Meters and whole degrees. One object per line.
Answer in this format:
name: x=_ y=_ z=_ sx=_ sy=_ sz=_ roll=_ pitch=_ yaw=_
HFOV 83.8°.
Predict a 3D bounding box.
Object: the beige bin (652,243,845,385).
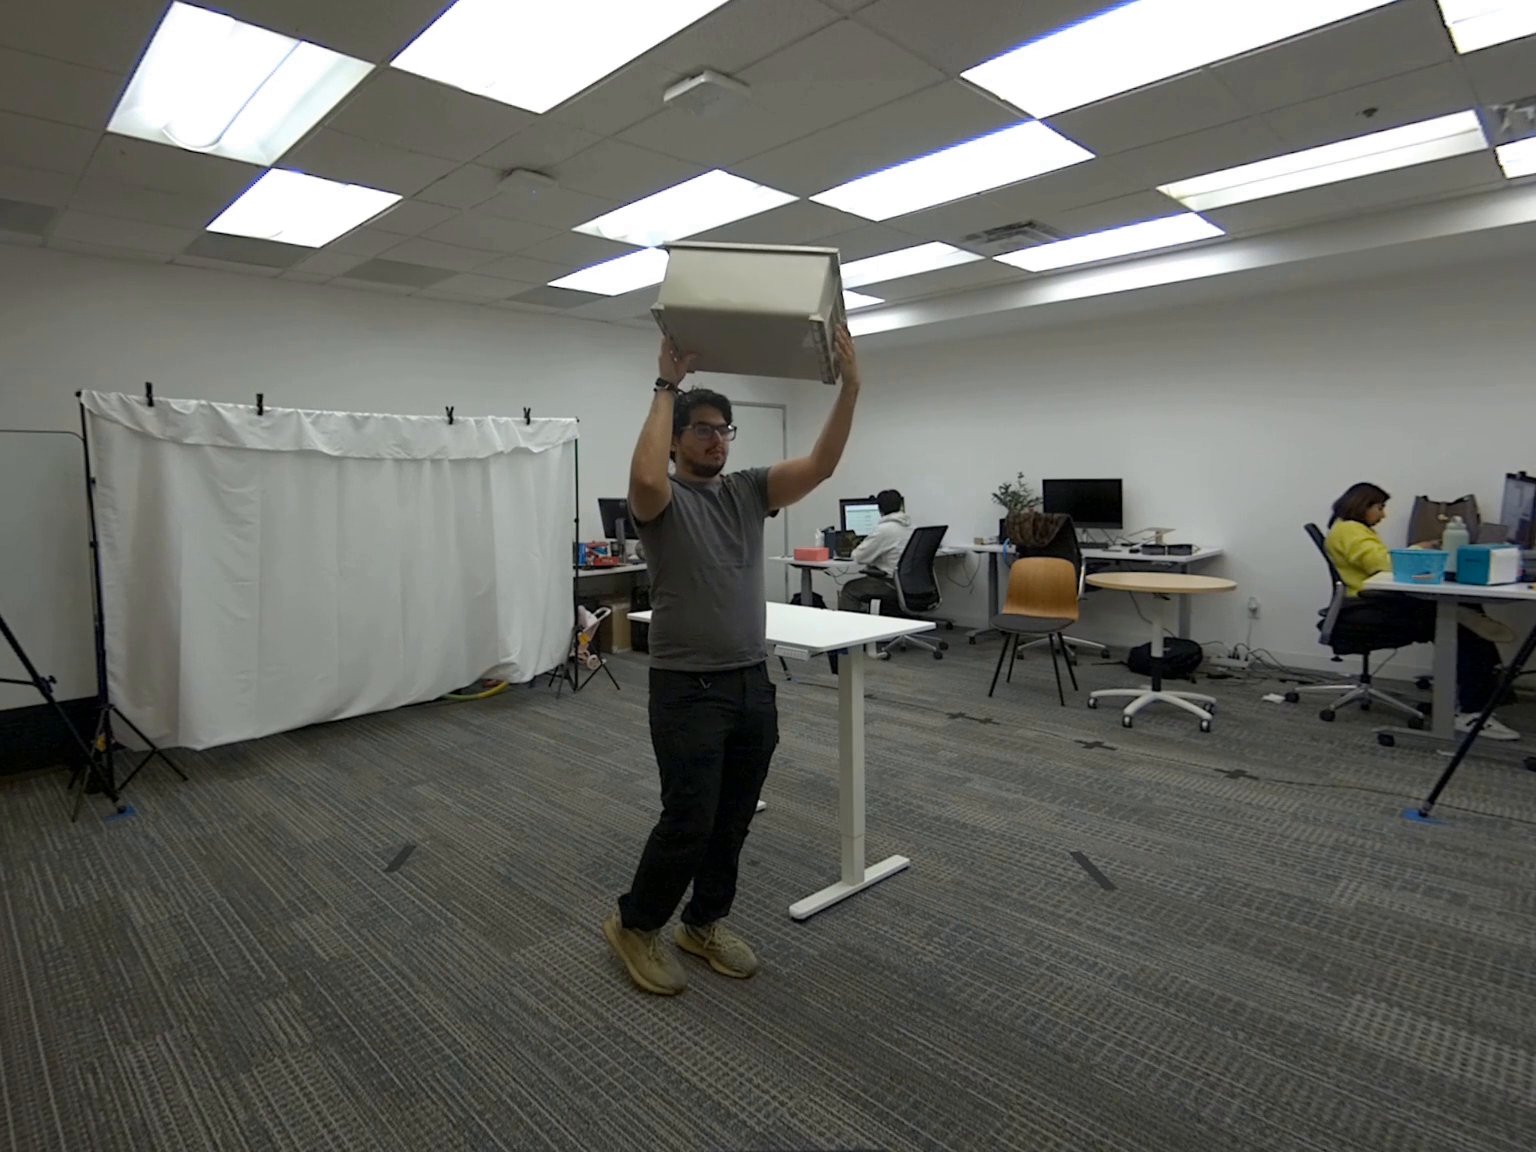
beige bin: x=-0.028 y=-0.634 z=2.123 sx=0.429 sy=0.191 sz=0.368 roll=9 pitch=-14 yaw=13
